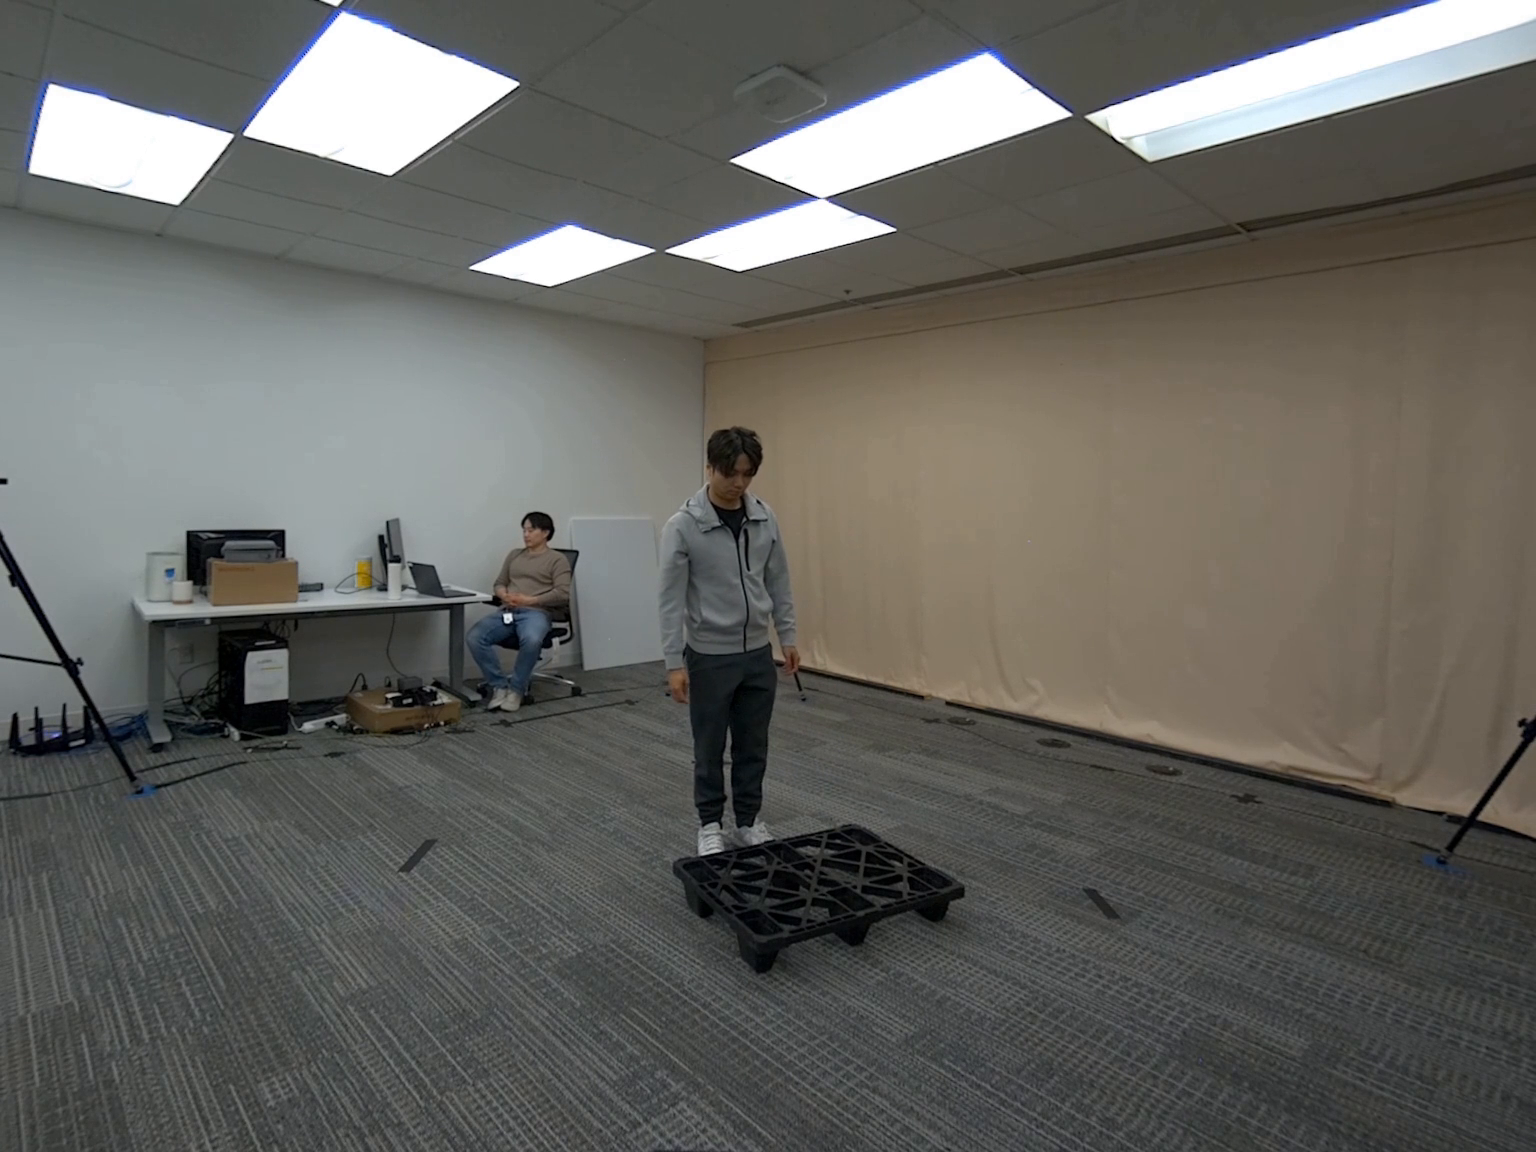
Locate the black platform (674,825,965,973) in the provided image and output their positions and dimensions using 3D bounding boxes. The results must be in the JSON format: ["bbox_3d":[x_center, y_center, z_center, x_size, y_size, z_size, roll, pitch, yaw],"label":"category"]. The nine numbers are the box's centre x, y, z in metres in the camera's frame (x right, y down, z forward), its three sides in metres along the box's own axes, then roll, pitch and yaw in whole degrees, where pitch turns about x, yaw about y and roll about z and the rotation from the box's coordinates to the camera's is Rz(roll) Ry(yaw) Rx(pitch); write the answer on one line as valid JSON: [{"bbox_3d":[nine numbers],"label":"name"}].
[{"bbox_3d":[0.148,1.071,2.842,0.789,0.143,0.619,-2,5,-30],"label":"black platform"}]
